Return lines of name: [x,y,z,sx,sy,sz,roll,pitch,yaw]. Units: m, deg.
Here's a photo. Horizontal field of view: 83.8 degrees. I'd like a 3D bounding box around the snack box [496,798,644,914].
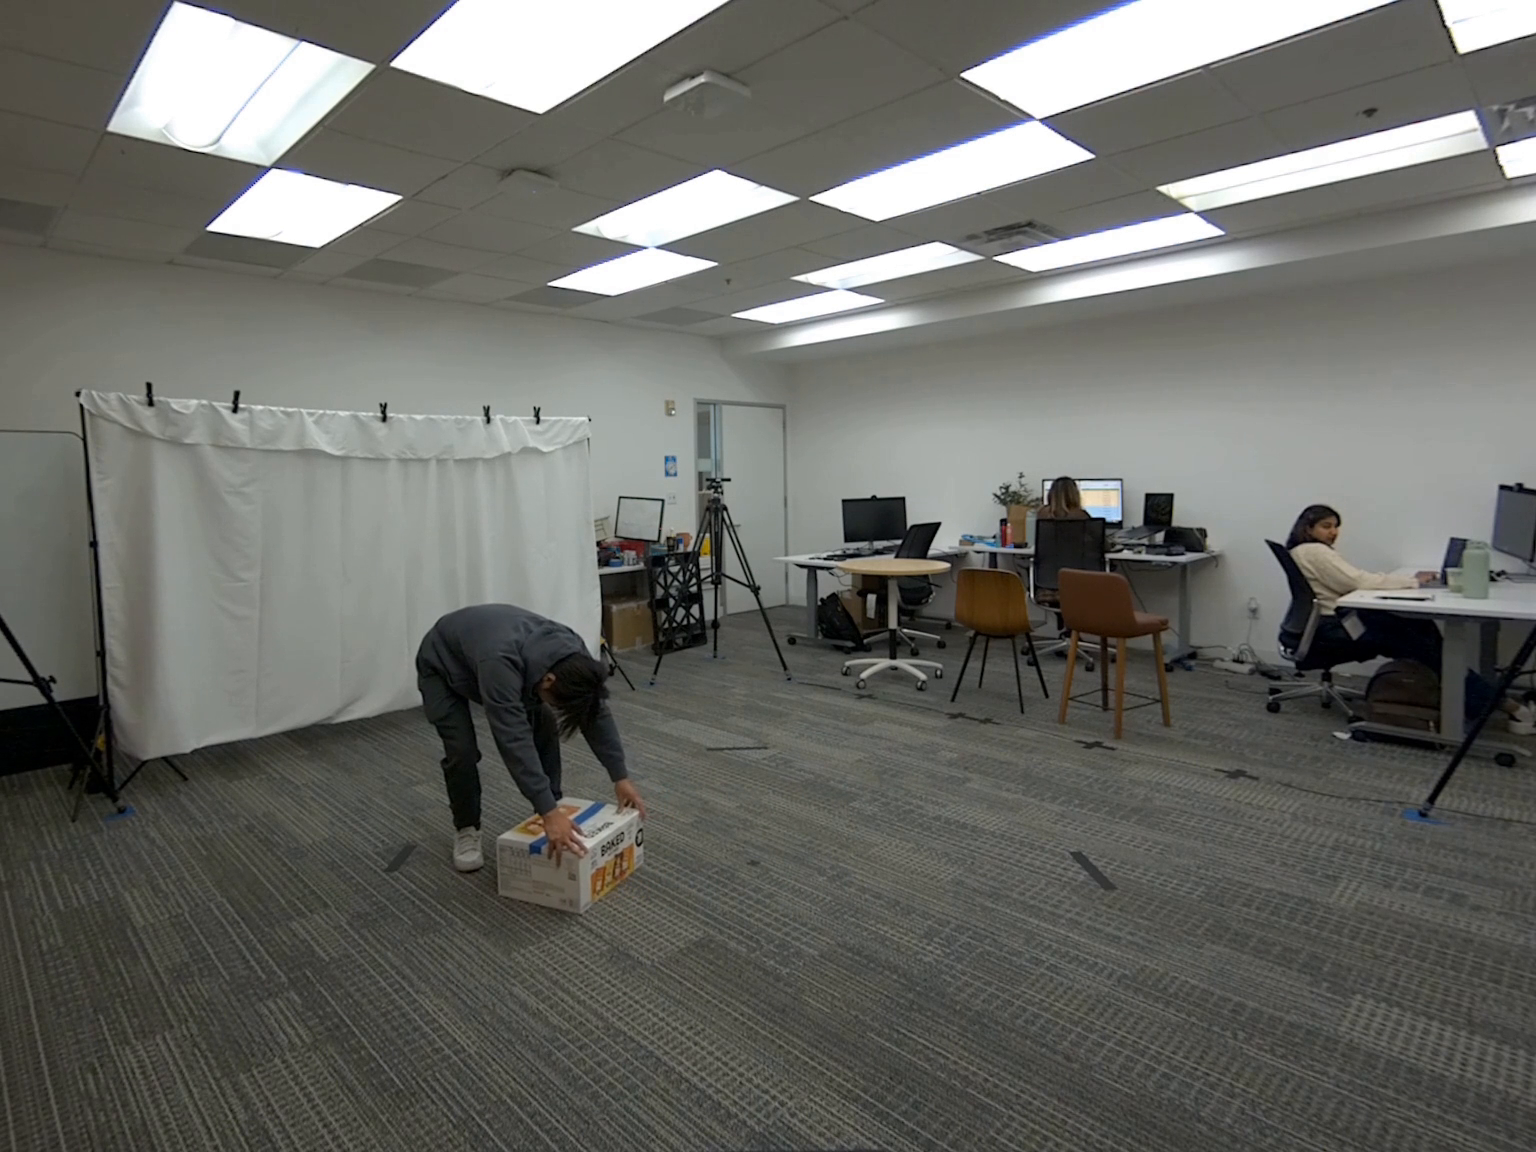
snack box: [-0.683,0.969,2.997,0.348,0.205,0.398,1,7,24]
